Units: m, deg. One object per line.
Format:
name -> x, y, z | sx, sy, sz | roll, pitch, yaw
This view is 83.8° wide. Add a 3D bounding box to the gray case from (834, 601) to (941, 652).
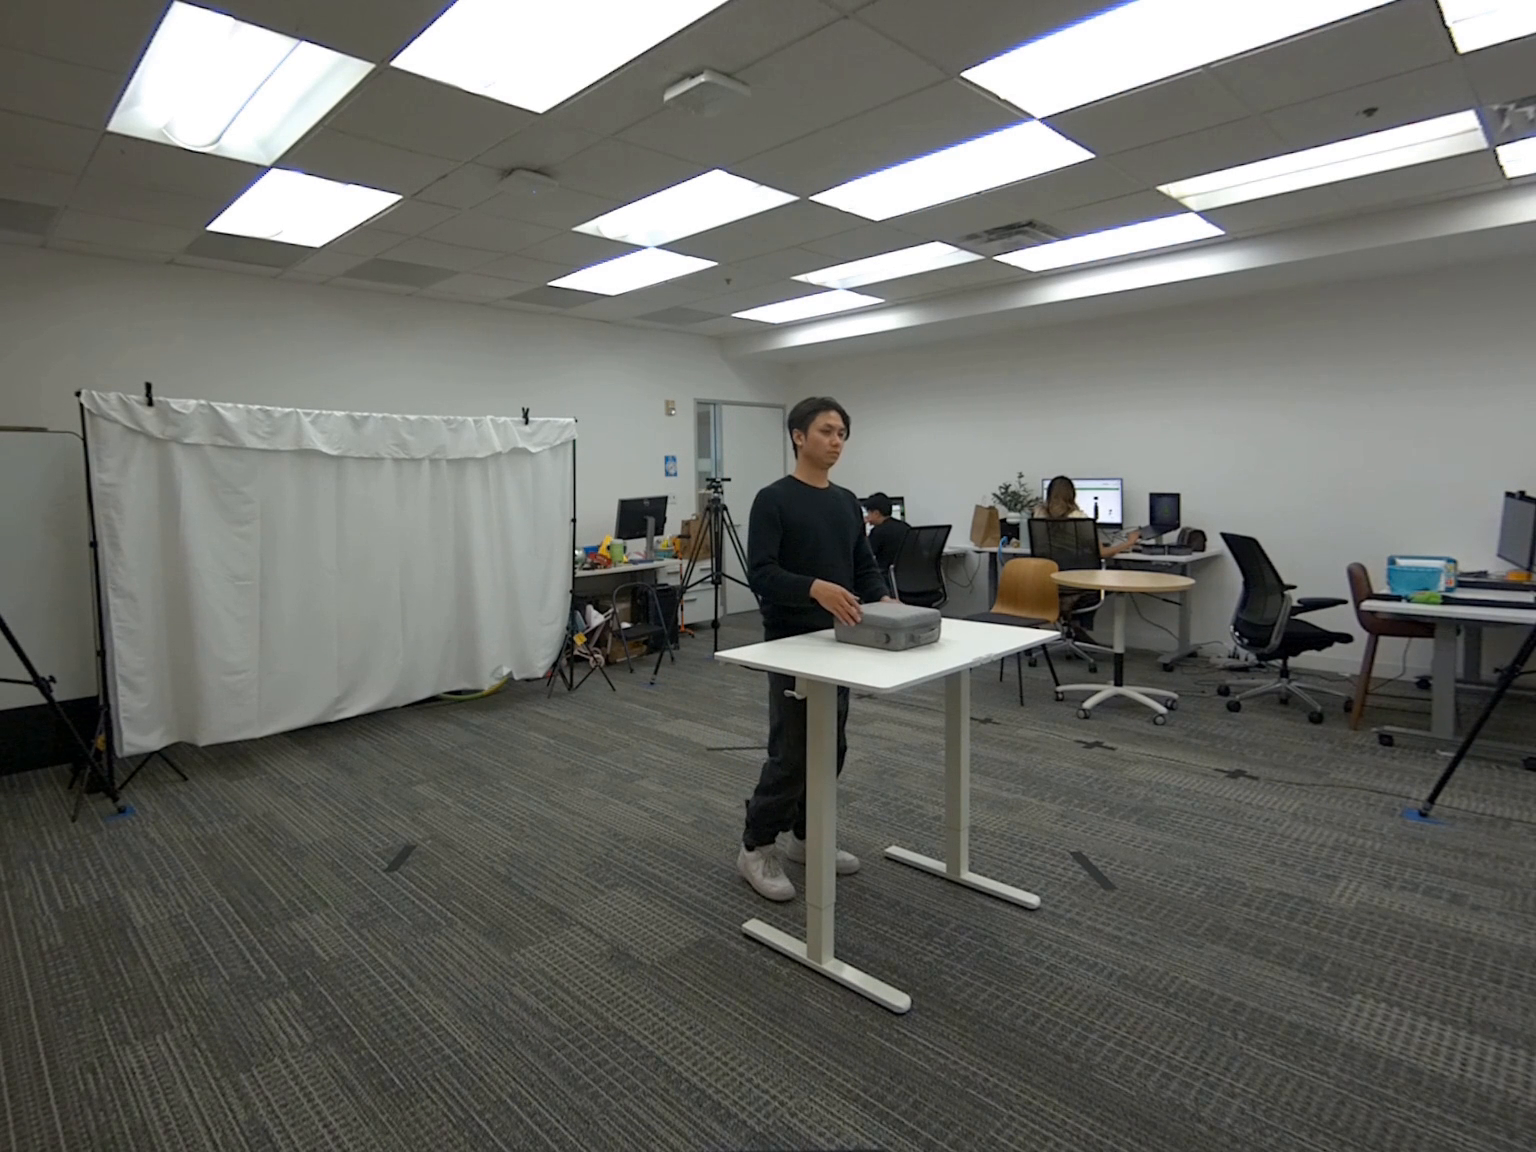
gray case -> 0.378, 0.156, 2.653 | 0.269, 0.104, 0.250 | 6, 8, 42
